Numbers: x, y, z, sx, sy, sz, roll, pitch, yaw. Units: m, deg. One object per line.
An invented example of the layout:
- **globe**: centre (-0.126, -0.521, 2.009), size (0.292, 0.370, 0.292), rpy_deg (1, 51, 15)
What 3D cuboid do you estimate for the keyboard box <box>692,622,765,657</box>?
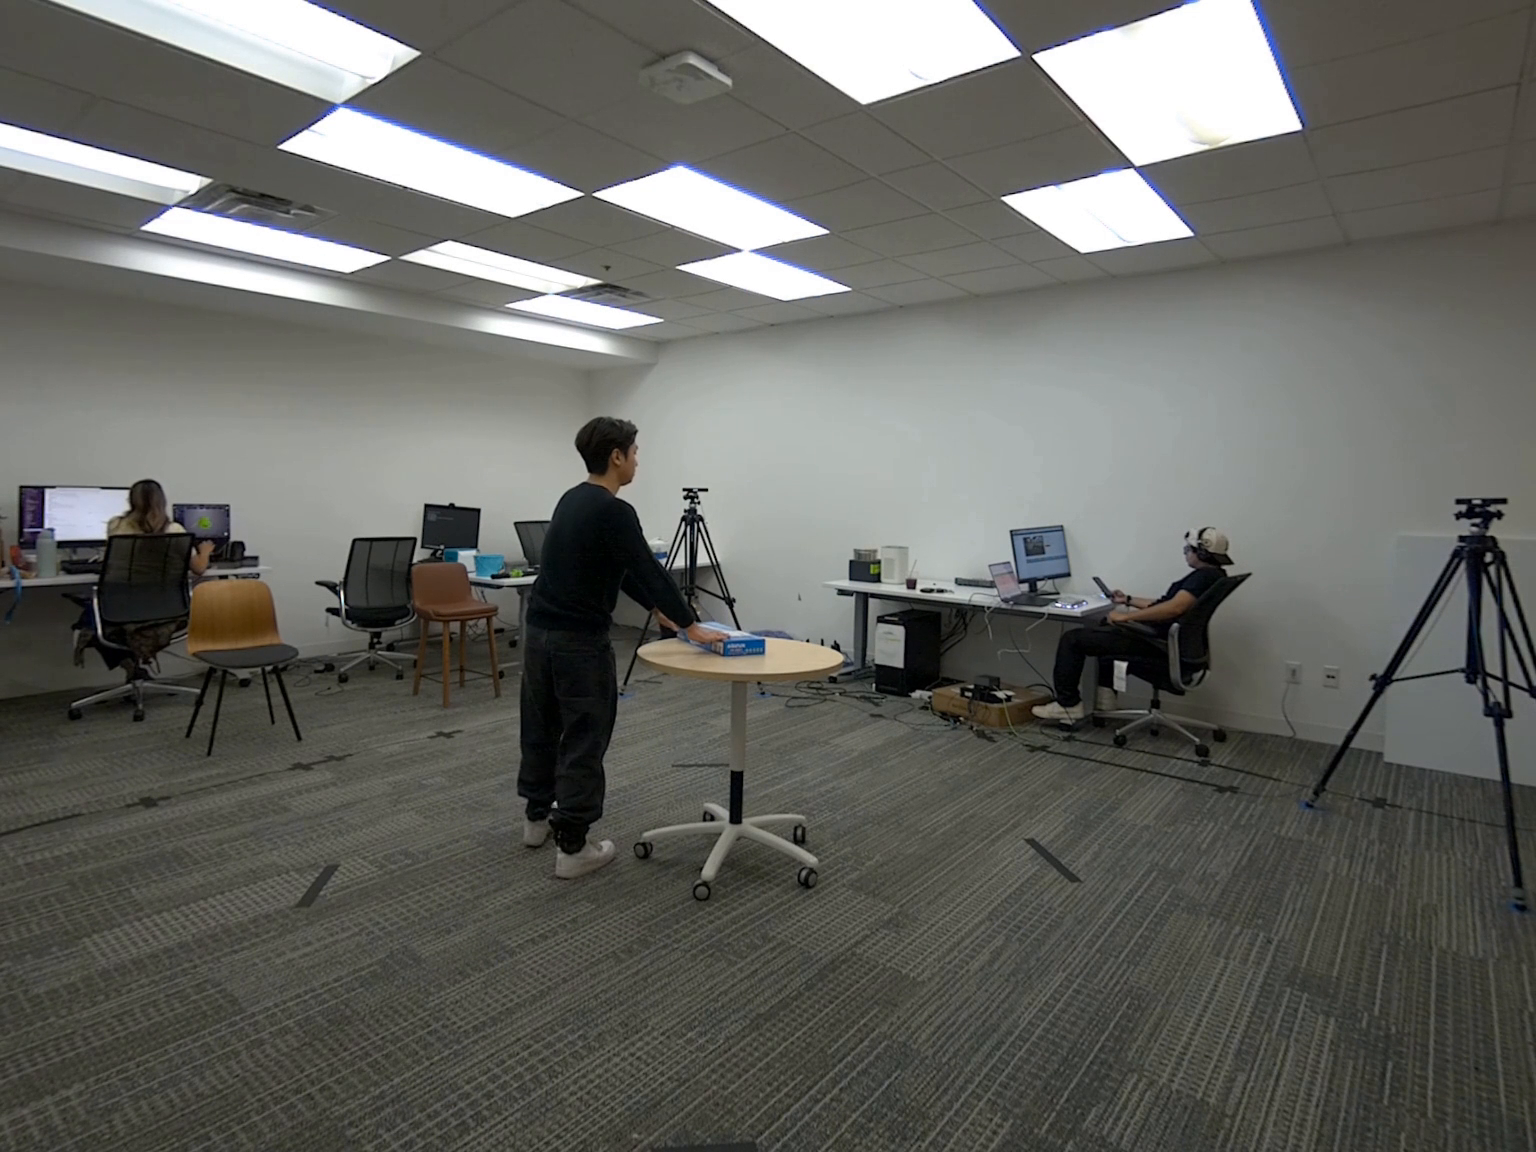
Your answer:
- **keyboard box**: centre (-0.199, 0.246, 3.323), size (0.171, 0.059, 0.450), rpy_deg (-3, 7, -30)
